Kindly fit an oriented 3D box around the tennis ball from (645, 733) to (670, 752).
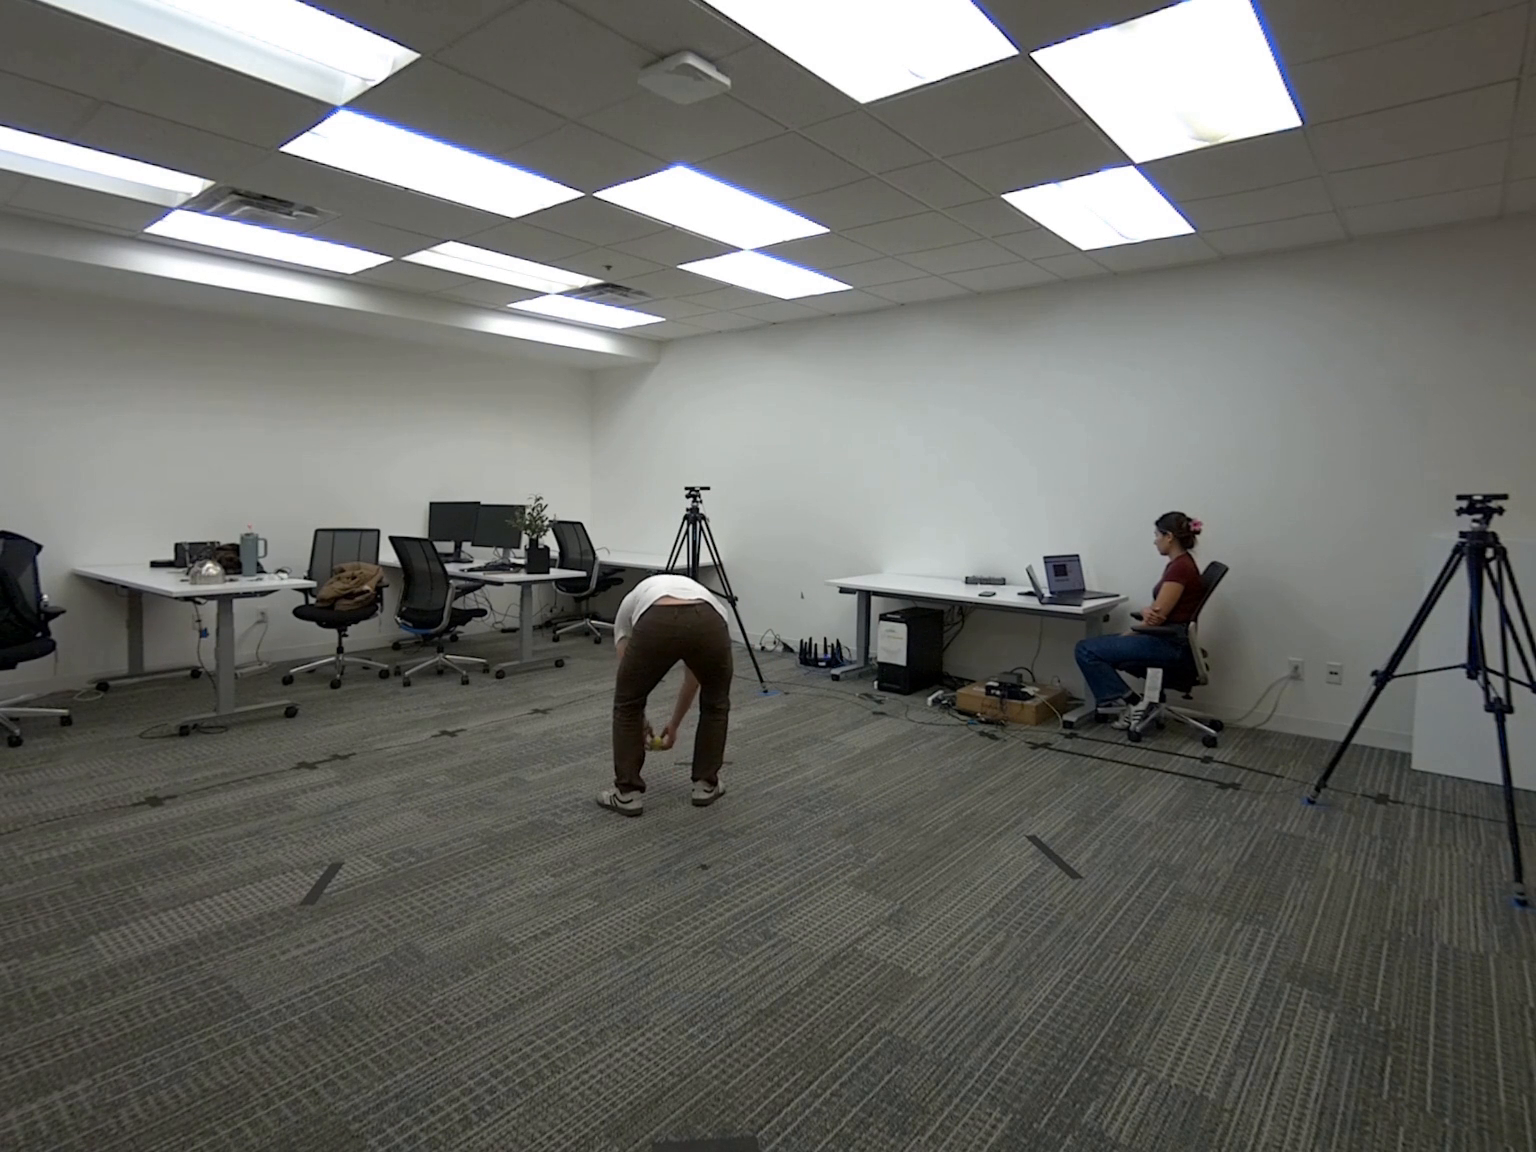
[{"bbox_3d":[-0.543,0.833,4.021,0.066,0.066,0.067,1,4,-2],"label":"tennis ball"}]
